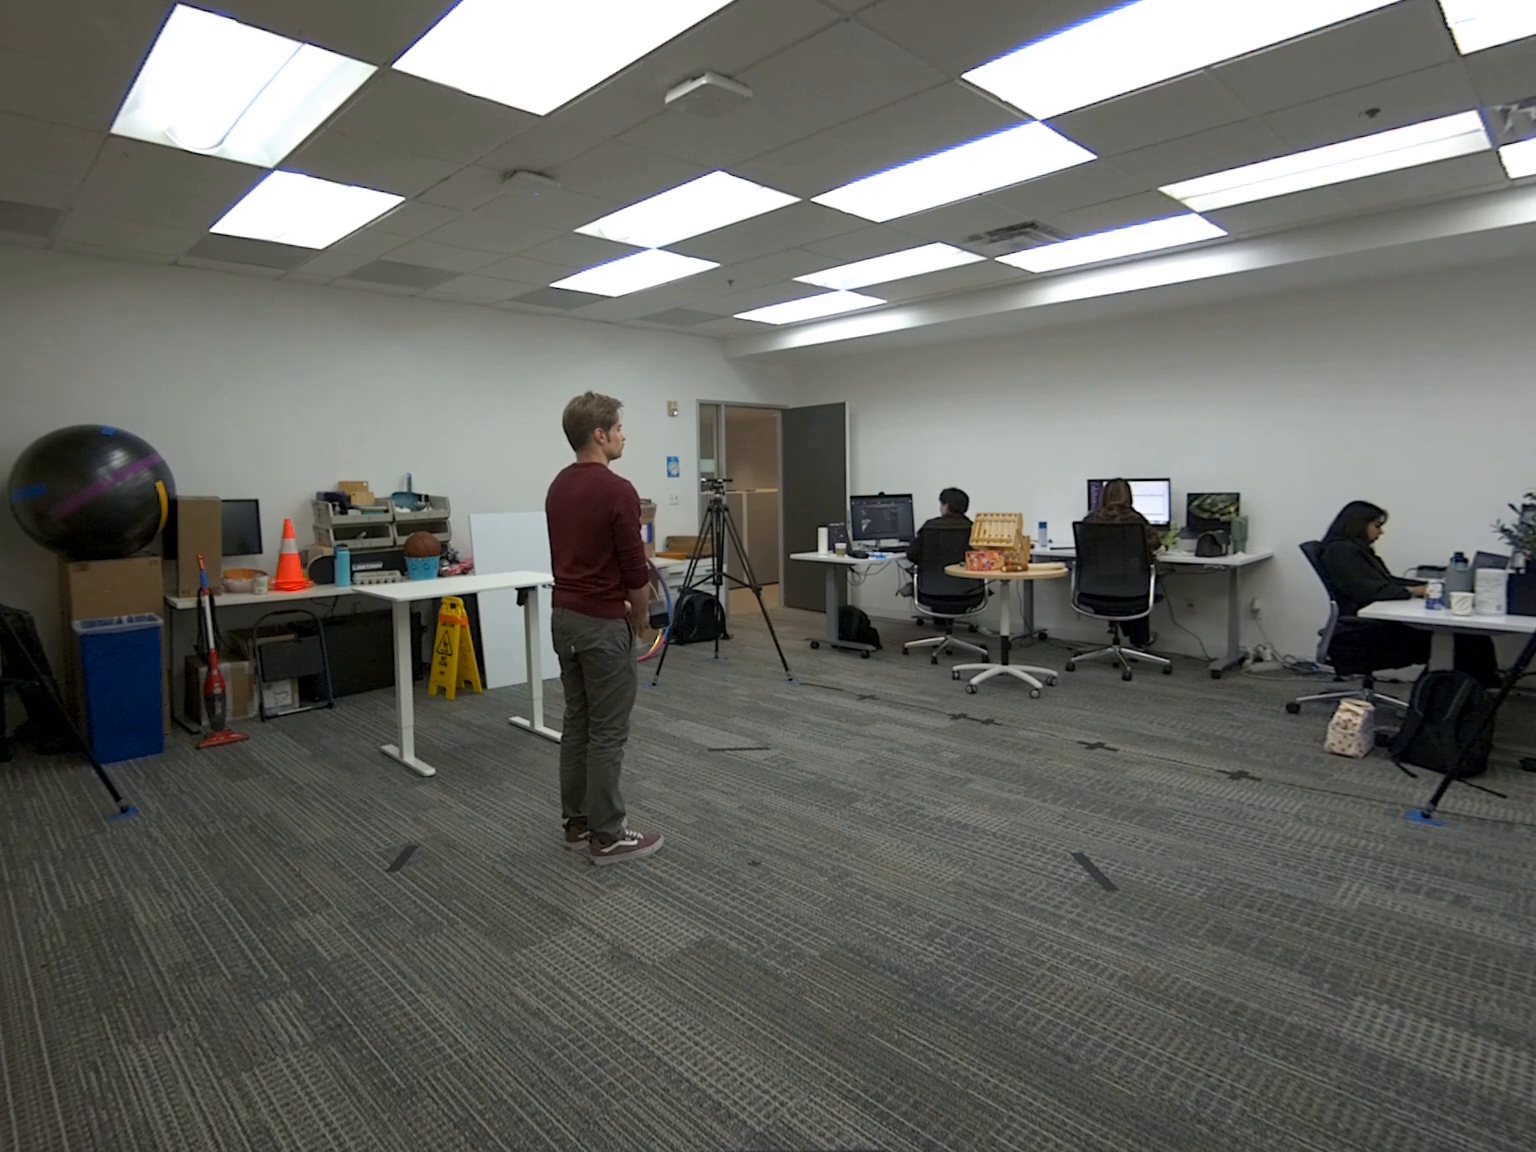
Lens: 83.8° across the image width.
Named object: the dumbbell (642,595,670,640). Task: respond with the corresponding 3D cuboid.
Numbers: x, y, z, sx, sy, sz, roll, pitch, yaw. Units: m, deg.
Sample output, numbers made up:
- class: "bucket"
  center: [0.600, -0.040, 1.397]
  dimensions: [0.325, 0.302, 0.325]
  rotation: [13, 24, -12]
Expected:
- class: "dumbbell"
  center: [-0.553, 0.183, 3.429]
  dimensions: [0.293, 0.120, 0.111]
  rotation: [-11, 23, -3]
